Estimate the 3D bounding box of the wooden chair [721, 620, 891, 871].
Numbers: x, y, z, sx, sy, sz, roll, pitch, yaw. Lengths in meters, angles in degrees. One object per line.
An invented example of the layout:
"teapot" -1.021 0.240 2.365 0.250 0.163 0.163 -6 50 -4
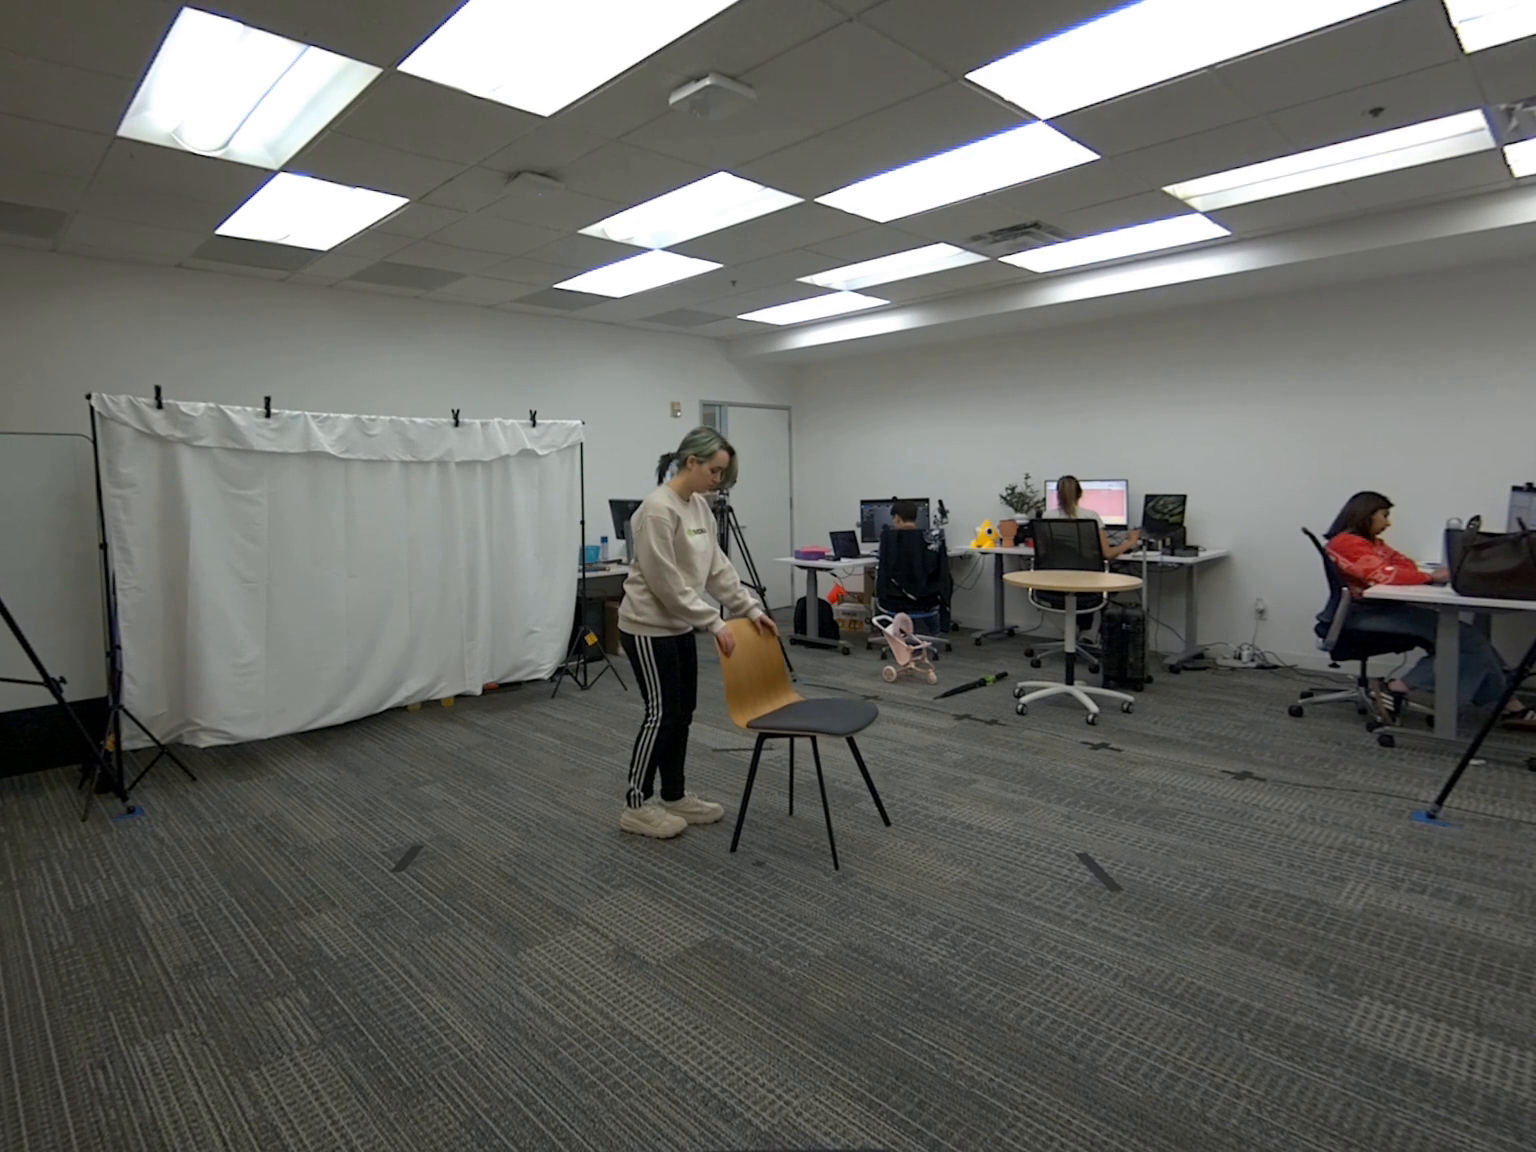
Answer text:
"wooden chair" 0.127 0.576 3.244 0.535 0.879 0.466 -11 -2 34
